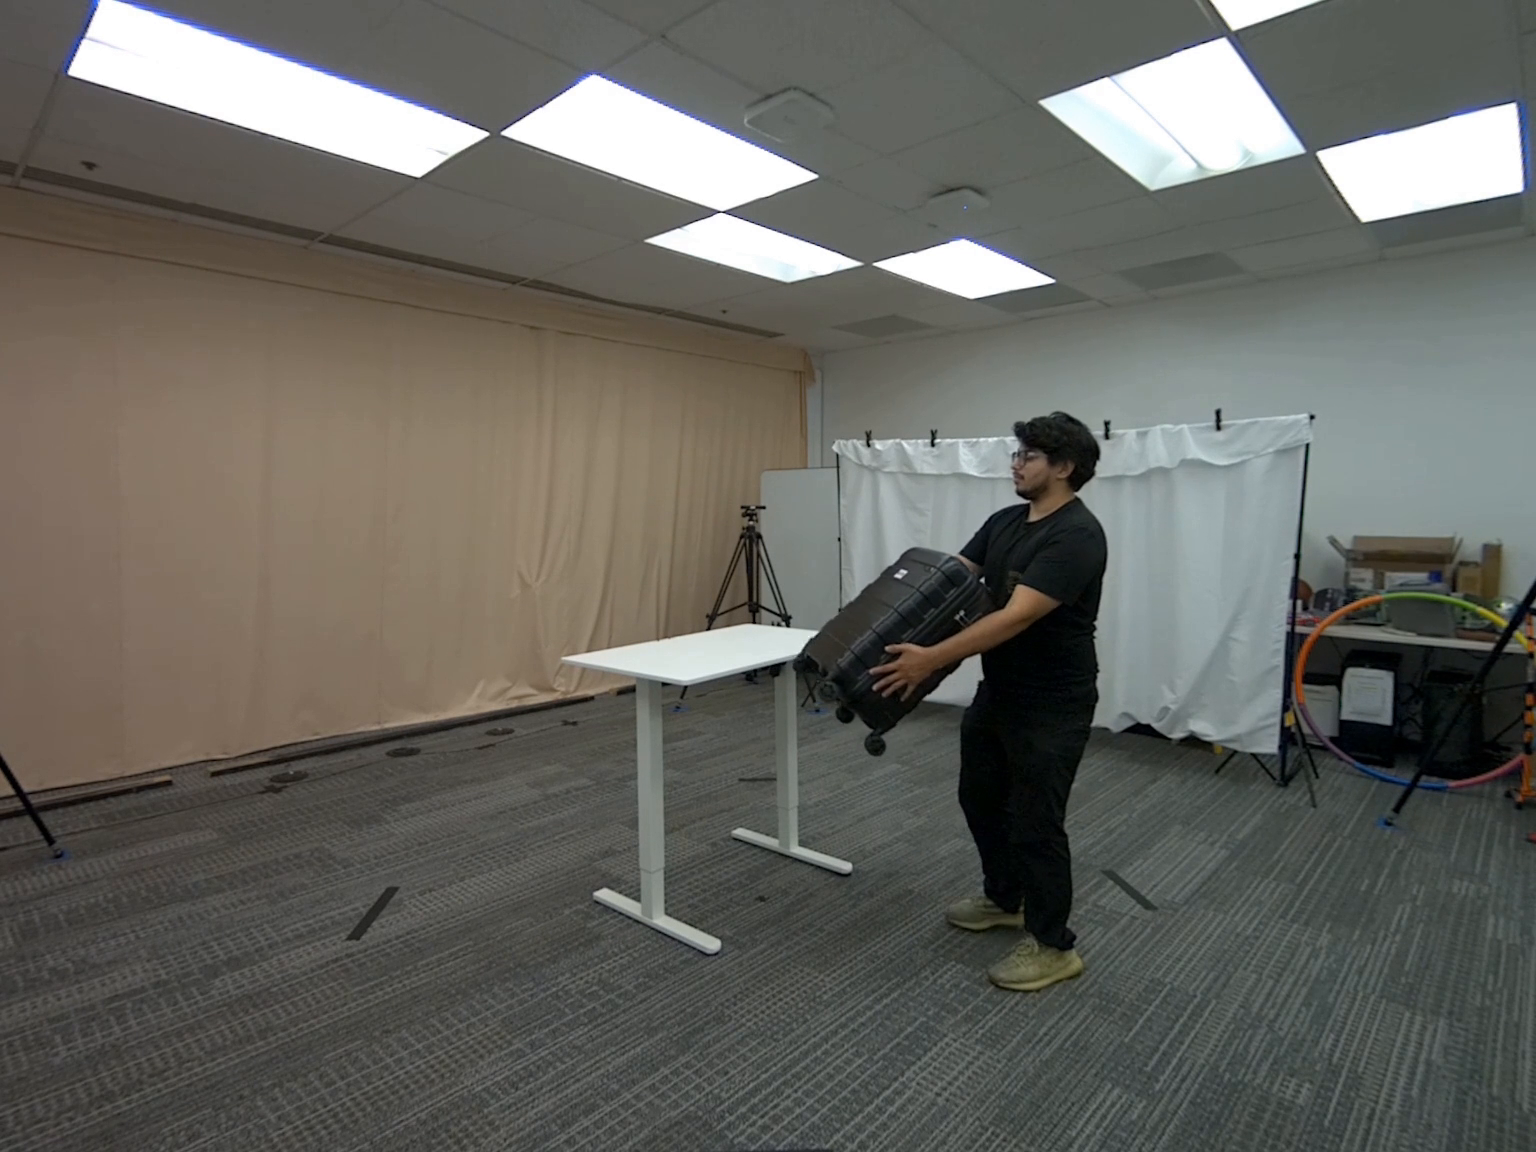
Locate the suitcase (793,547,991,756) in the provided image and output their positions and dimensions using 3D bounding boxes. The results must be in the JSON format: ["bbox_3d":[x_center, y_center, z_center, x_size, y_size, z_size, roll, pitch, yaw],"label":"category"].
[{"bbox_3d":[0.379,0.176,2.403,0.549,0.245,0.380,-44,12,1],"label":"suitcase"}]
